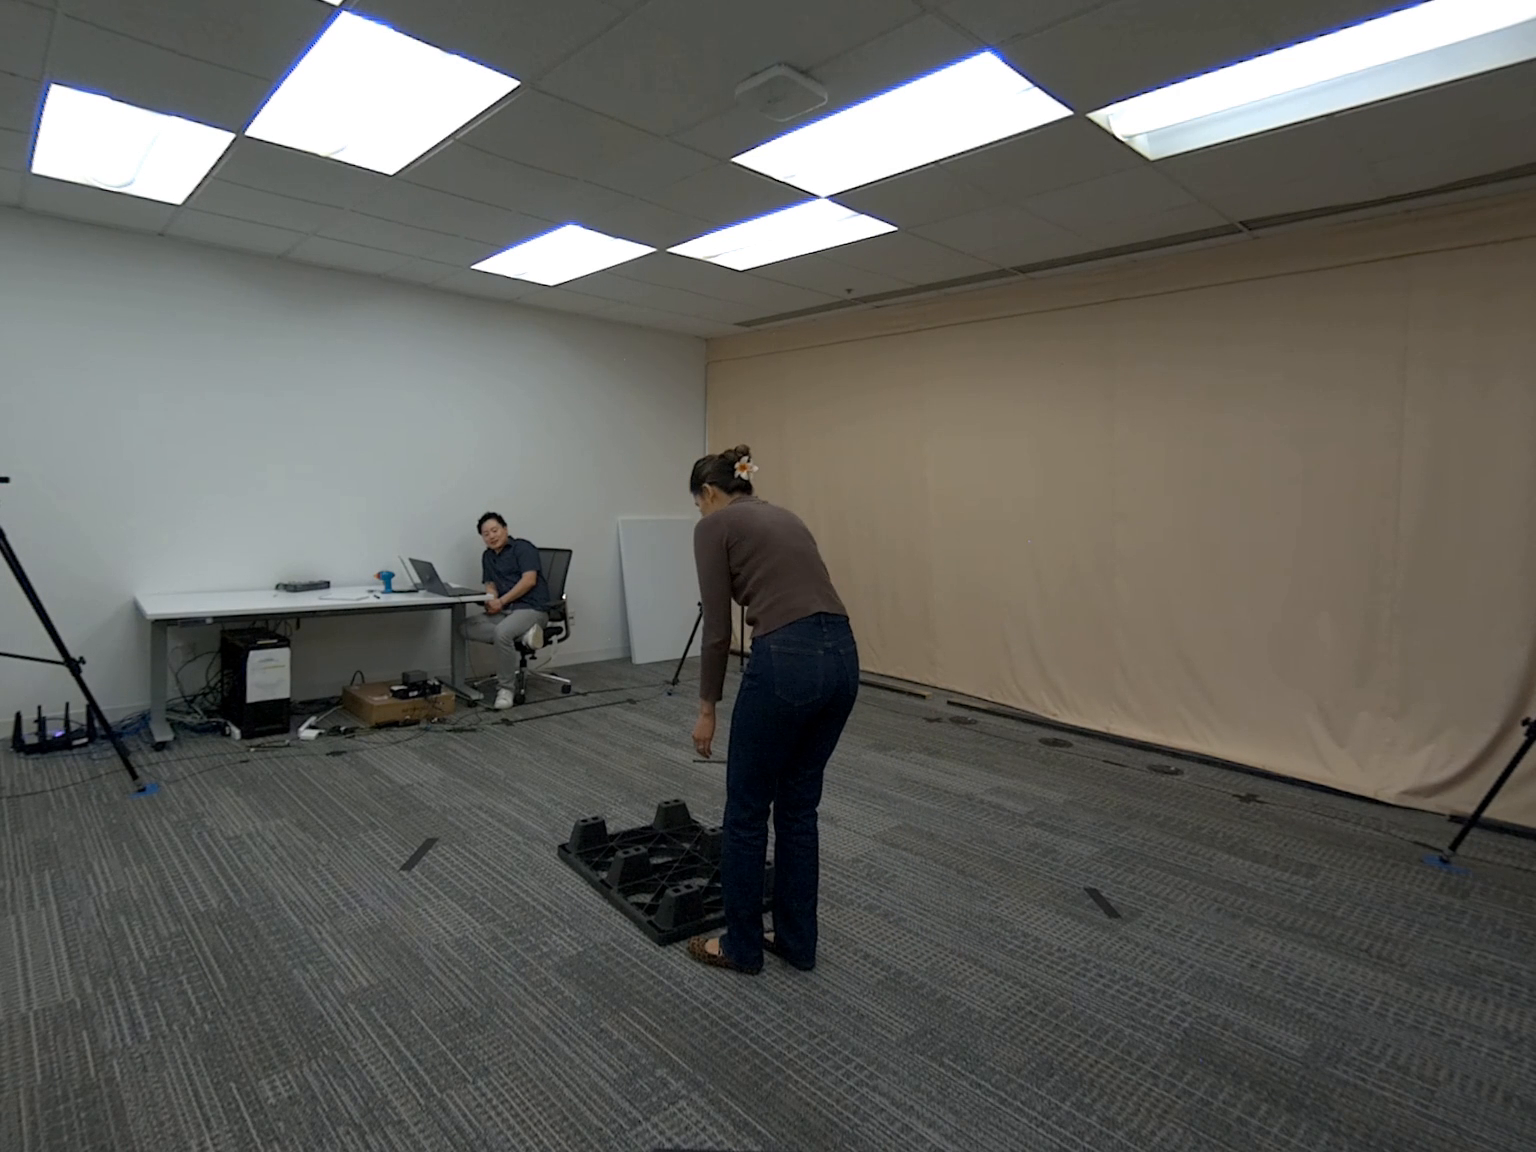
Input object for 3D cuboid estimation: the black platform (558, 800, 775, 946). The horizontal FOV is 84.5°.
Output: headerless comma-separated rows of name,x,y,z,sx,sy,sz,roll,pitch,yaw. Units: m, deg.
black platform,-0.334,1.033,3.081,0.592,0.143,0.826,-3,7,-37
